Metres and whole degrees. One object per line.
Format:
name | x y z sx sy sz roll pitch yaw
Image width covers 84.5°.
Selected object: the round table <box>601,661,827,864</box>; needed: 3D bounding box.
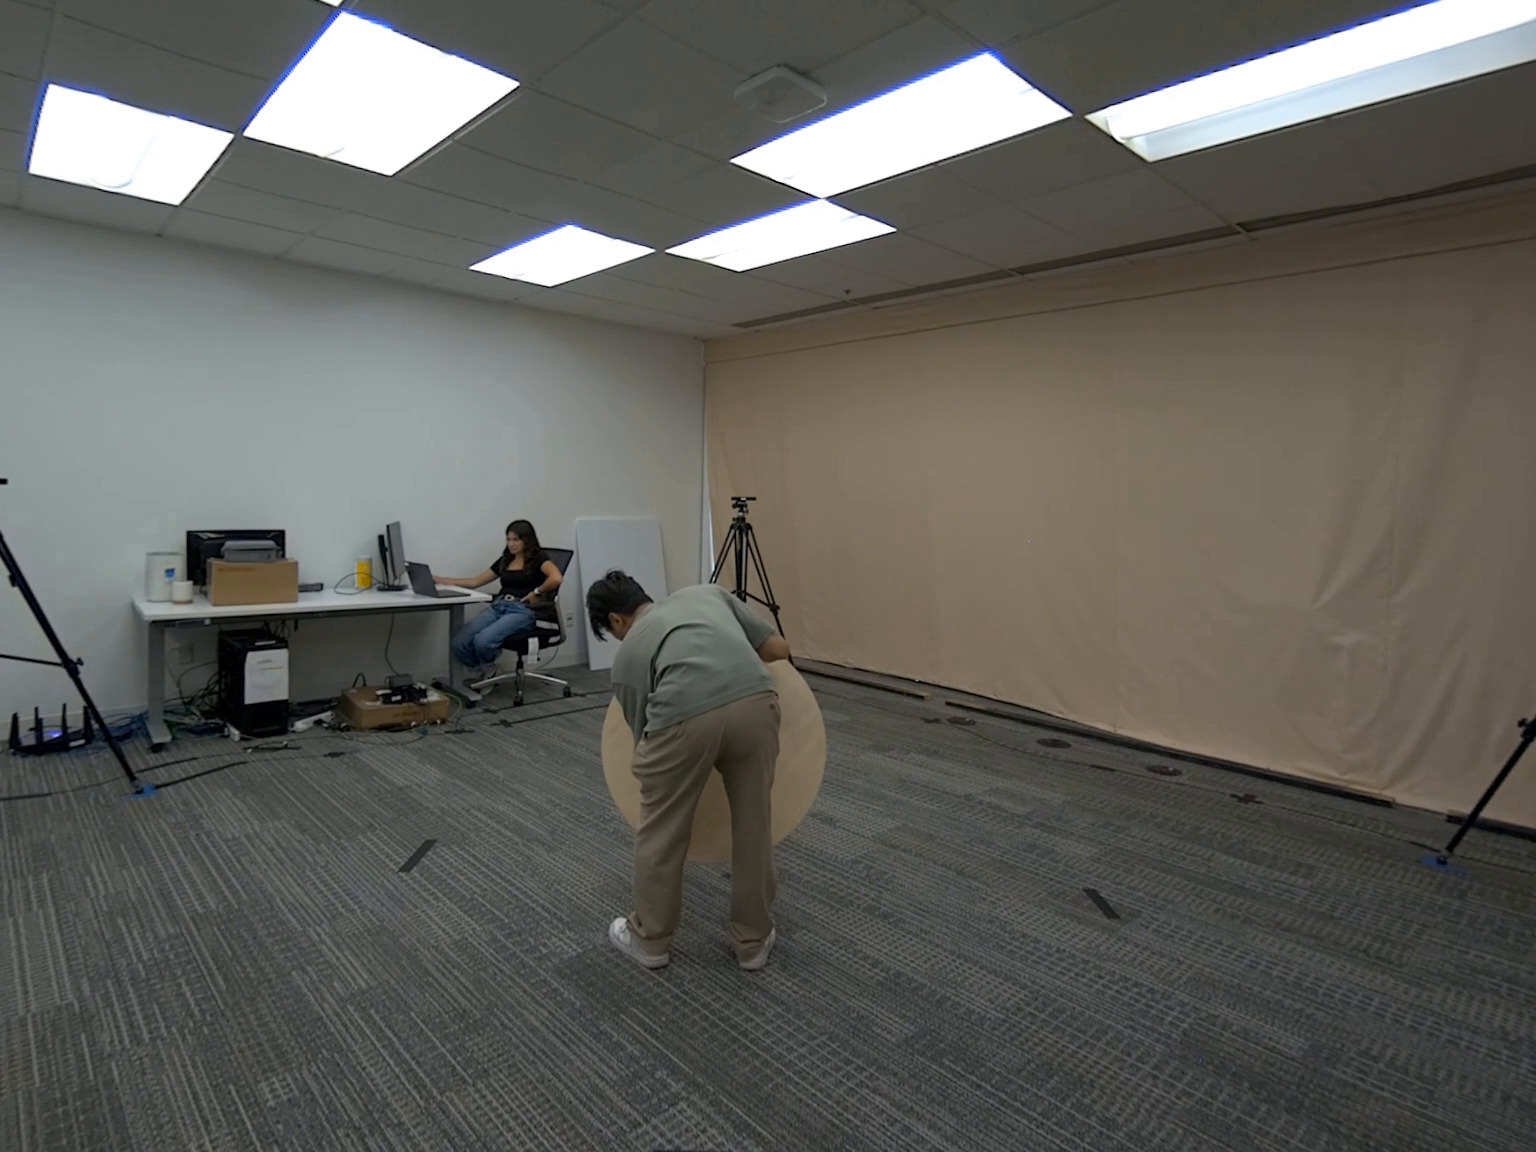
round table | -0.239 0.674 3.233 0.781 0.795 0.780 1 -18 -6
